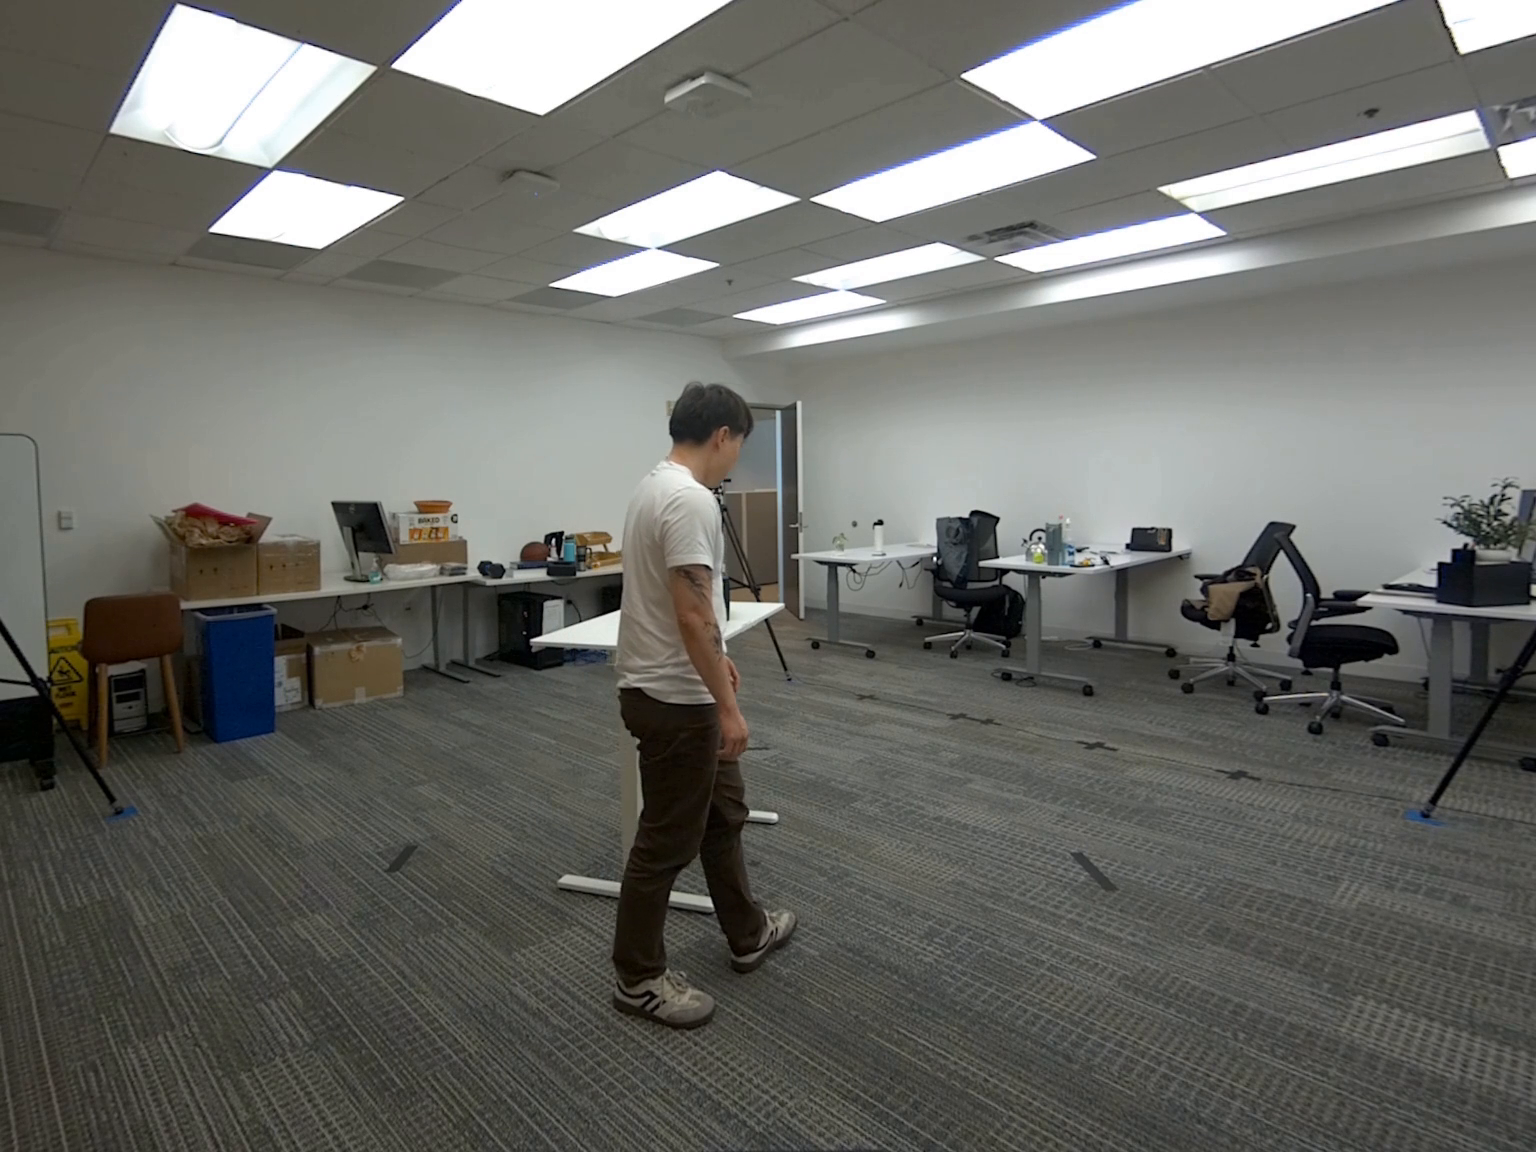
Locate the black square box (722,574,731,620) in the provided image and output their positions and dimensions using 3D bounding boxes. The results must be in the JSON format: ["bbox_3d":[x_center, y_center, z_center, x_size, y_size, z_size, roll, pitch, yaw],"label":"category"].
[{"bbox_3d":[-0.259,0.077,3.209,0.228,0.155,0.218,-1,5,-2],"label":"black square box"}]
